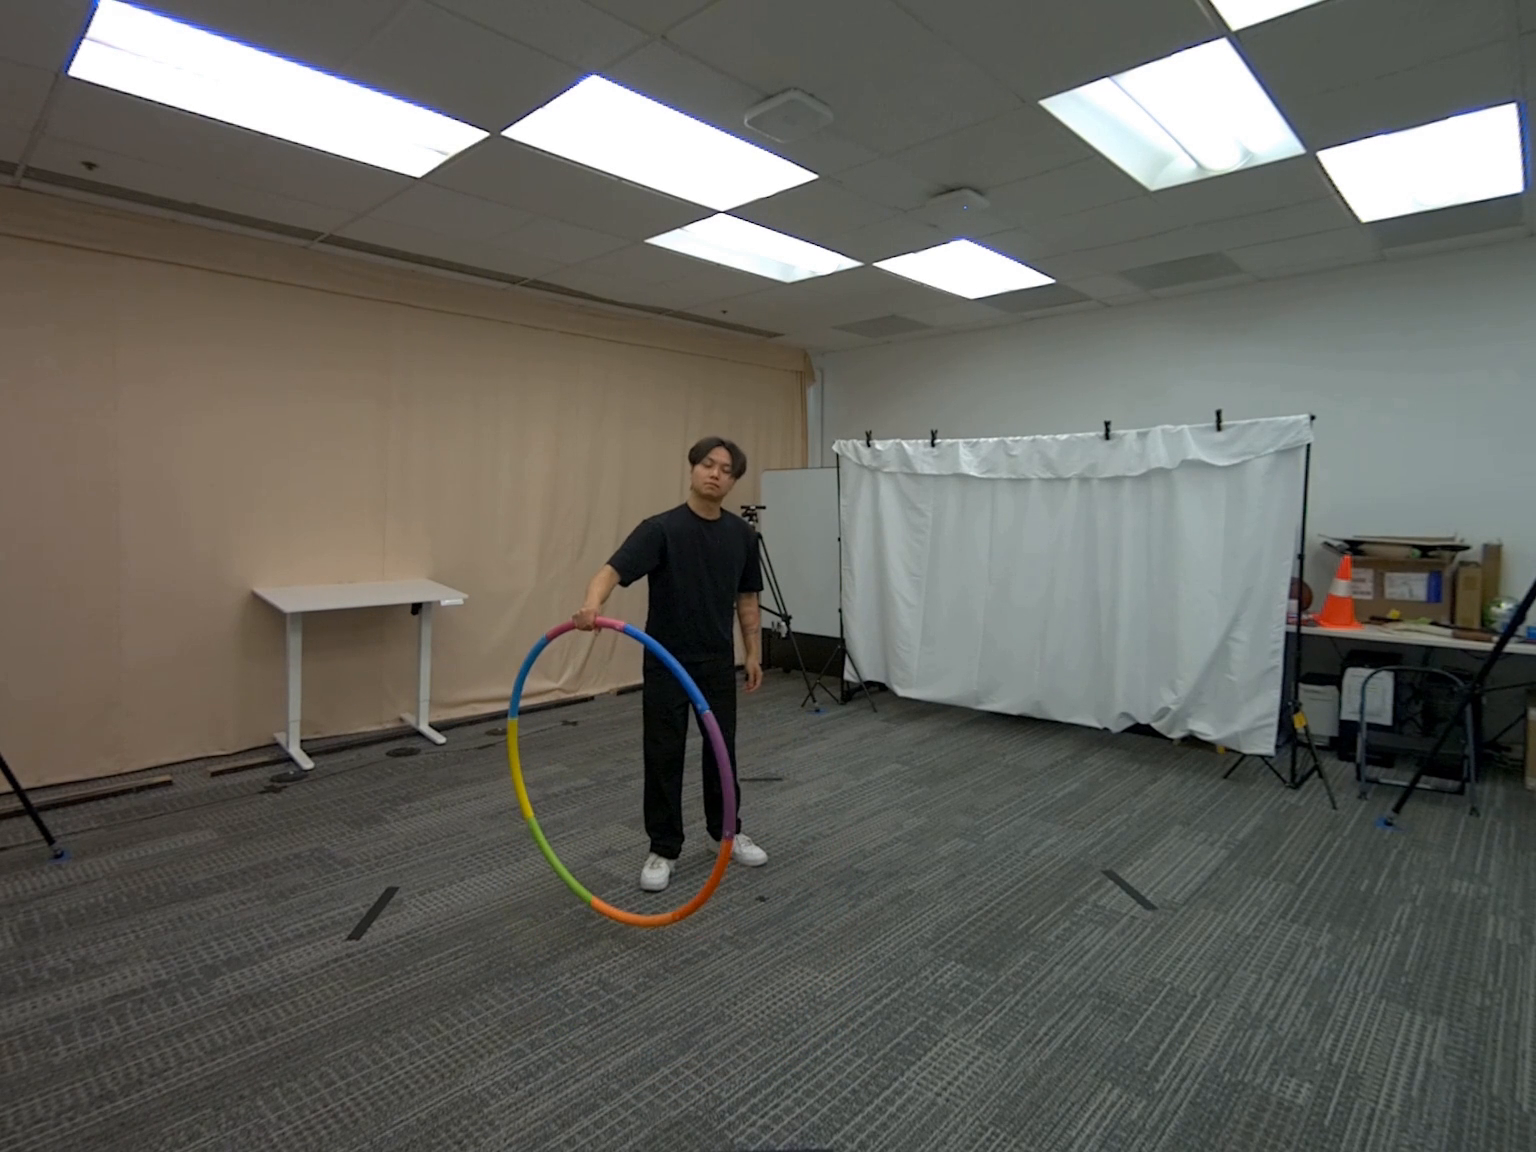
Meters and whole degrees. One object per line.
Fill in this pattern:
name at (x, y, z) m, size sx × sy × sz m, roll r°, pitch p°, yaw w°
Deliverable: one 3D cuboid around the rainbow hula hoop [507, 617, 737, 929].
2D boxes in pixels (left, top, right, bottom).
rainbow hula hoop at (-0.502, 0.630, 2.675) m, size 1.010 × 0.975 × 0.034 m, roll 3°, pitch 7°, yaw 36°
